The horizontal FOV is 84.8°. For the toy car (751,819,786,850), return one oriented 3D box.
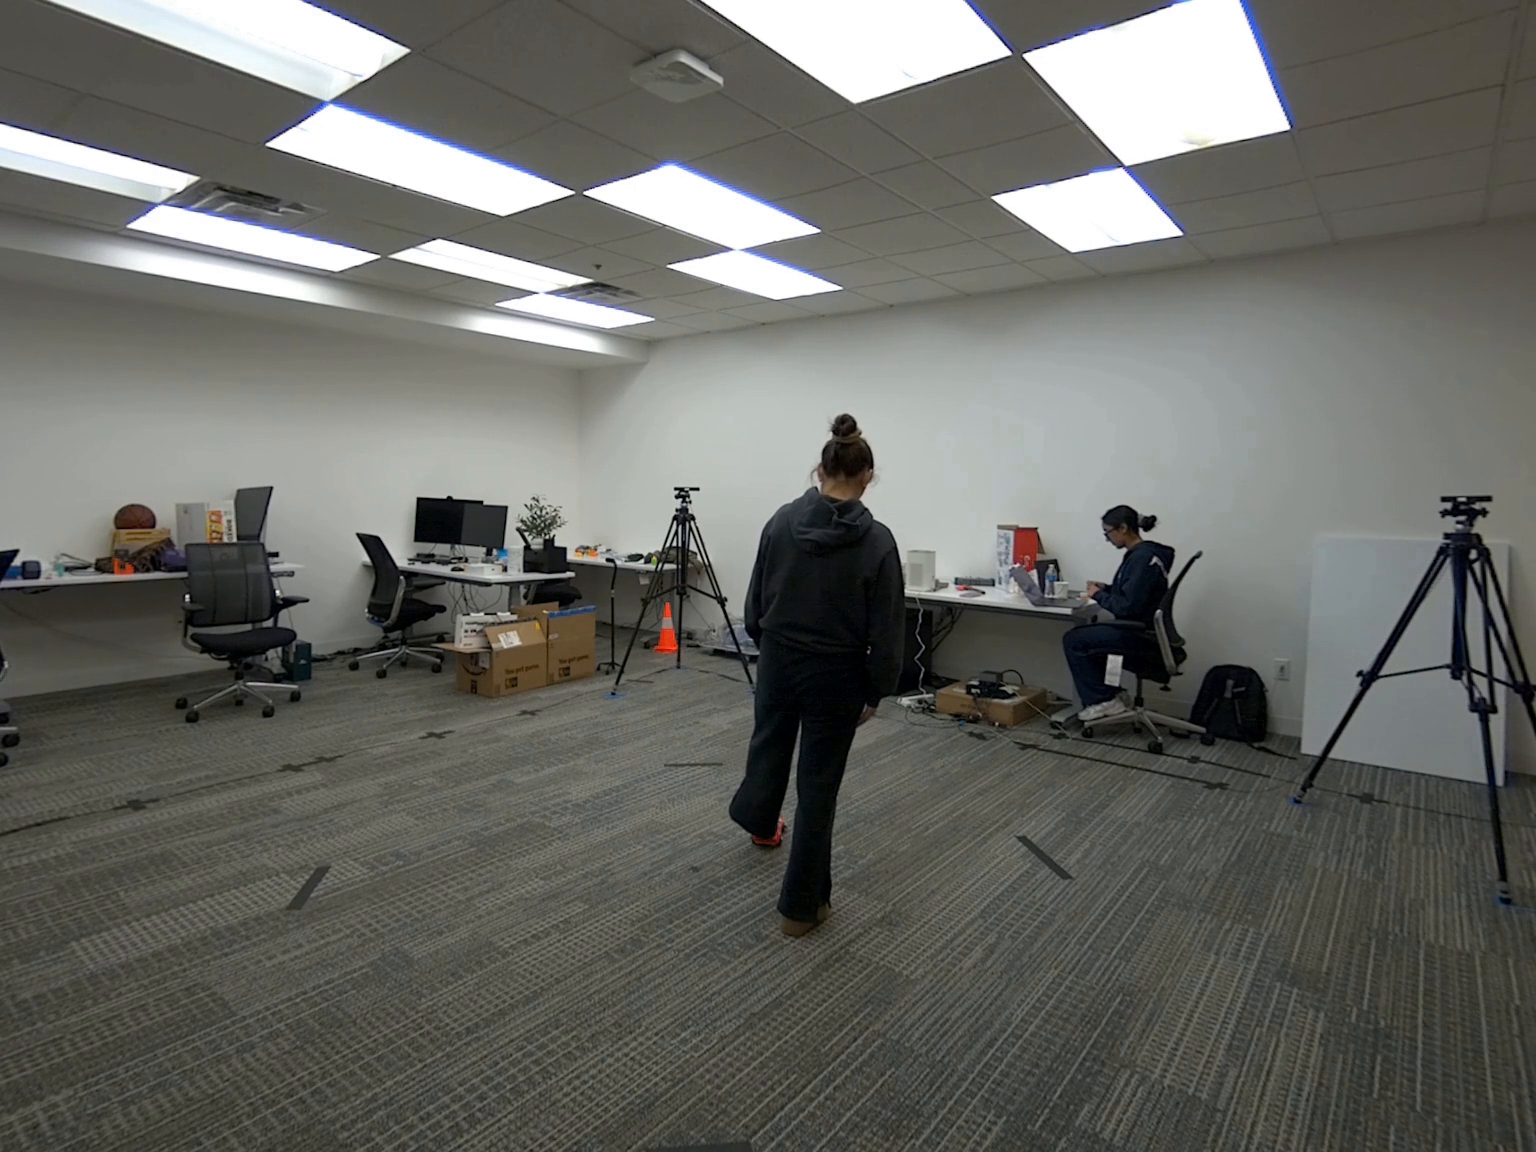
[{"bbox_3d":[0.006,1.011,3.389,0.132,0.083,0.250,2,-4,9],"label":"toy car"}]
